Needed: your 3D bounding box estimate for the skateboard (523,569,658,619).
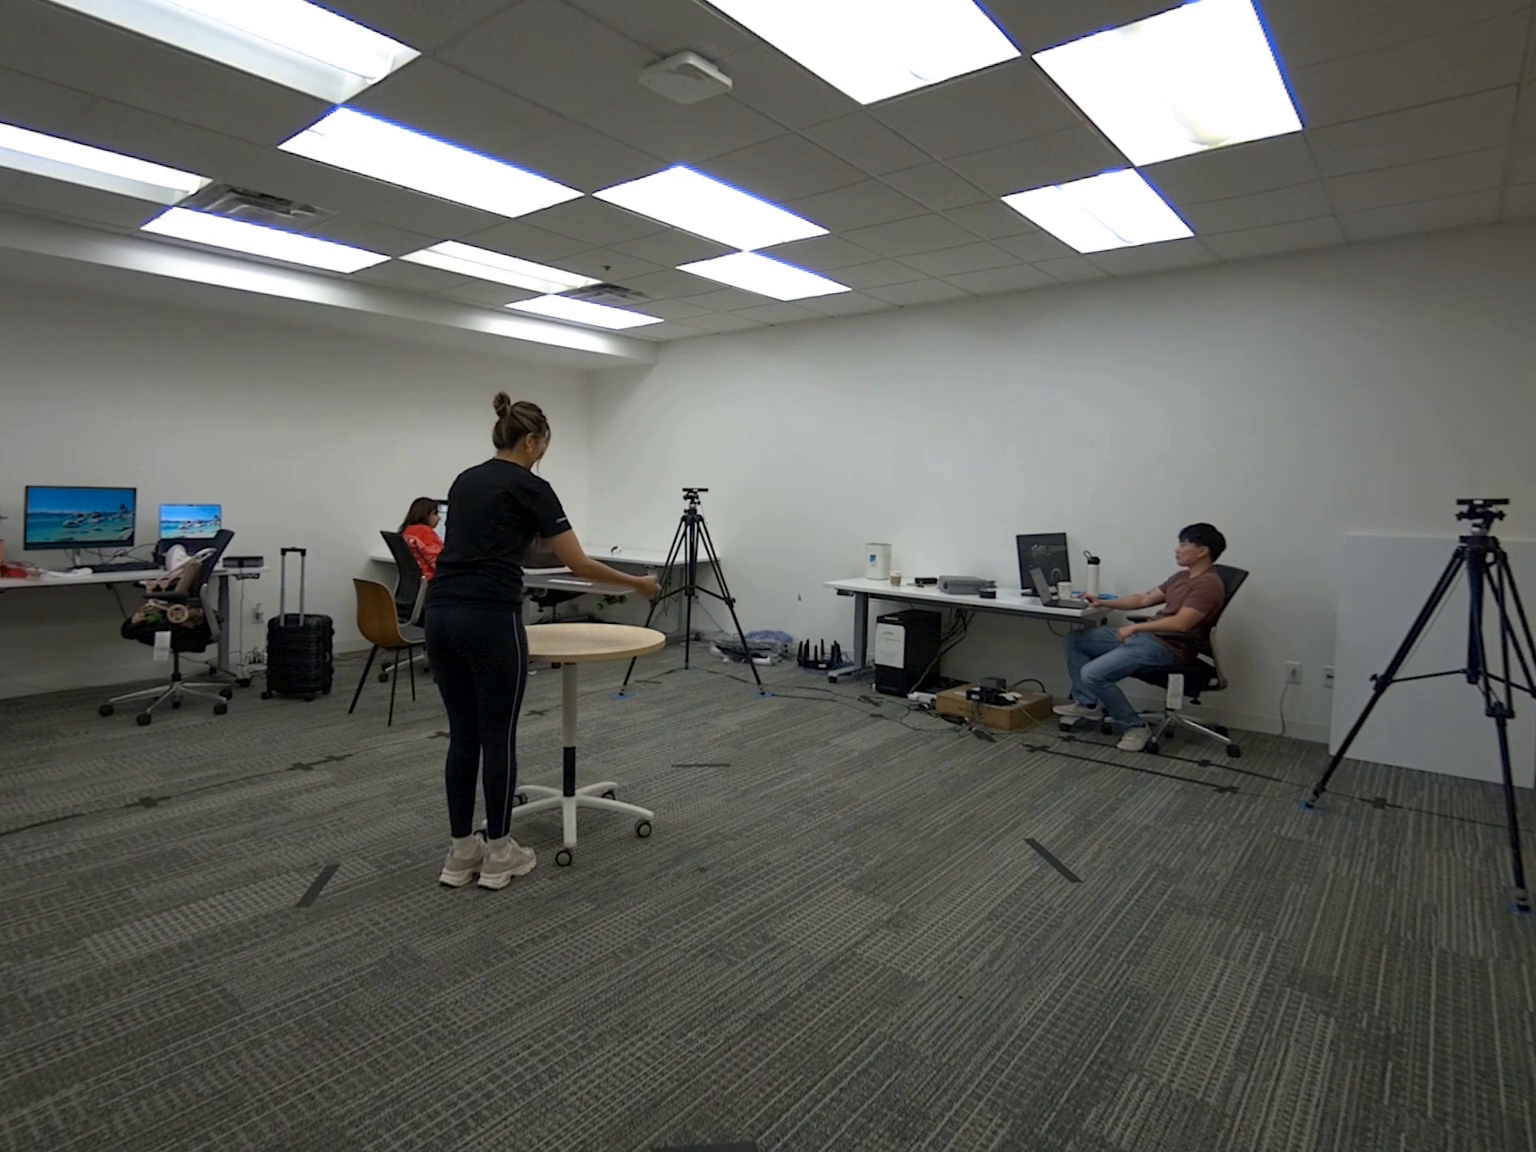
[{"bbox_3d":[-0.839,0.060,3.417,0.807,0.110,0.189,5,8,26],"label":"skateboard"}]
